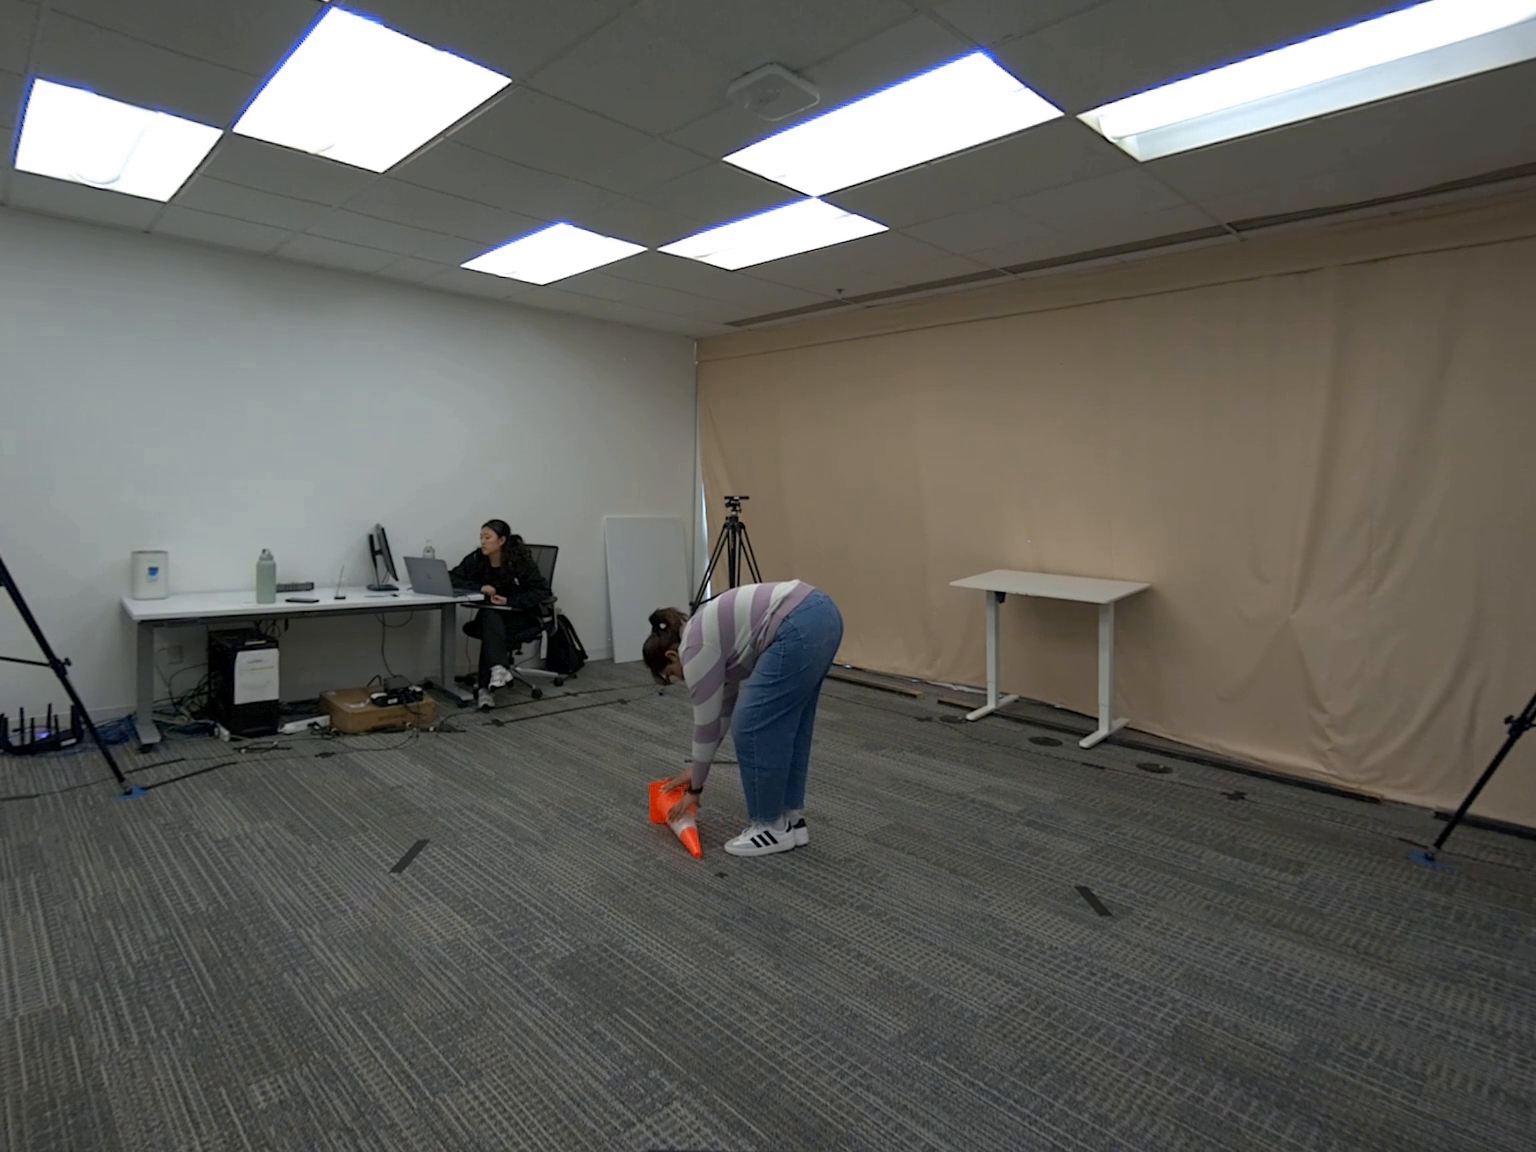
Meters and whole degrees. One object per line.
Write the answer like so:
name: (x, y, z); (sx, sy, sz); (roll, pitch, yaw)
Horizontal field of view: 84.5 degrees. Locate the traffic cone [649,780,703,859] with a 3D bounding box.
traffic cone: (-0.333, 1.011, 3.417); (0.201, 0.202, 0.393); (-3, 20, -18)
